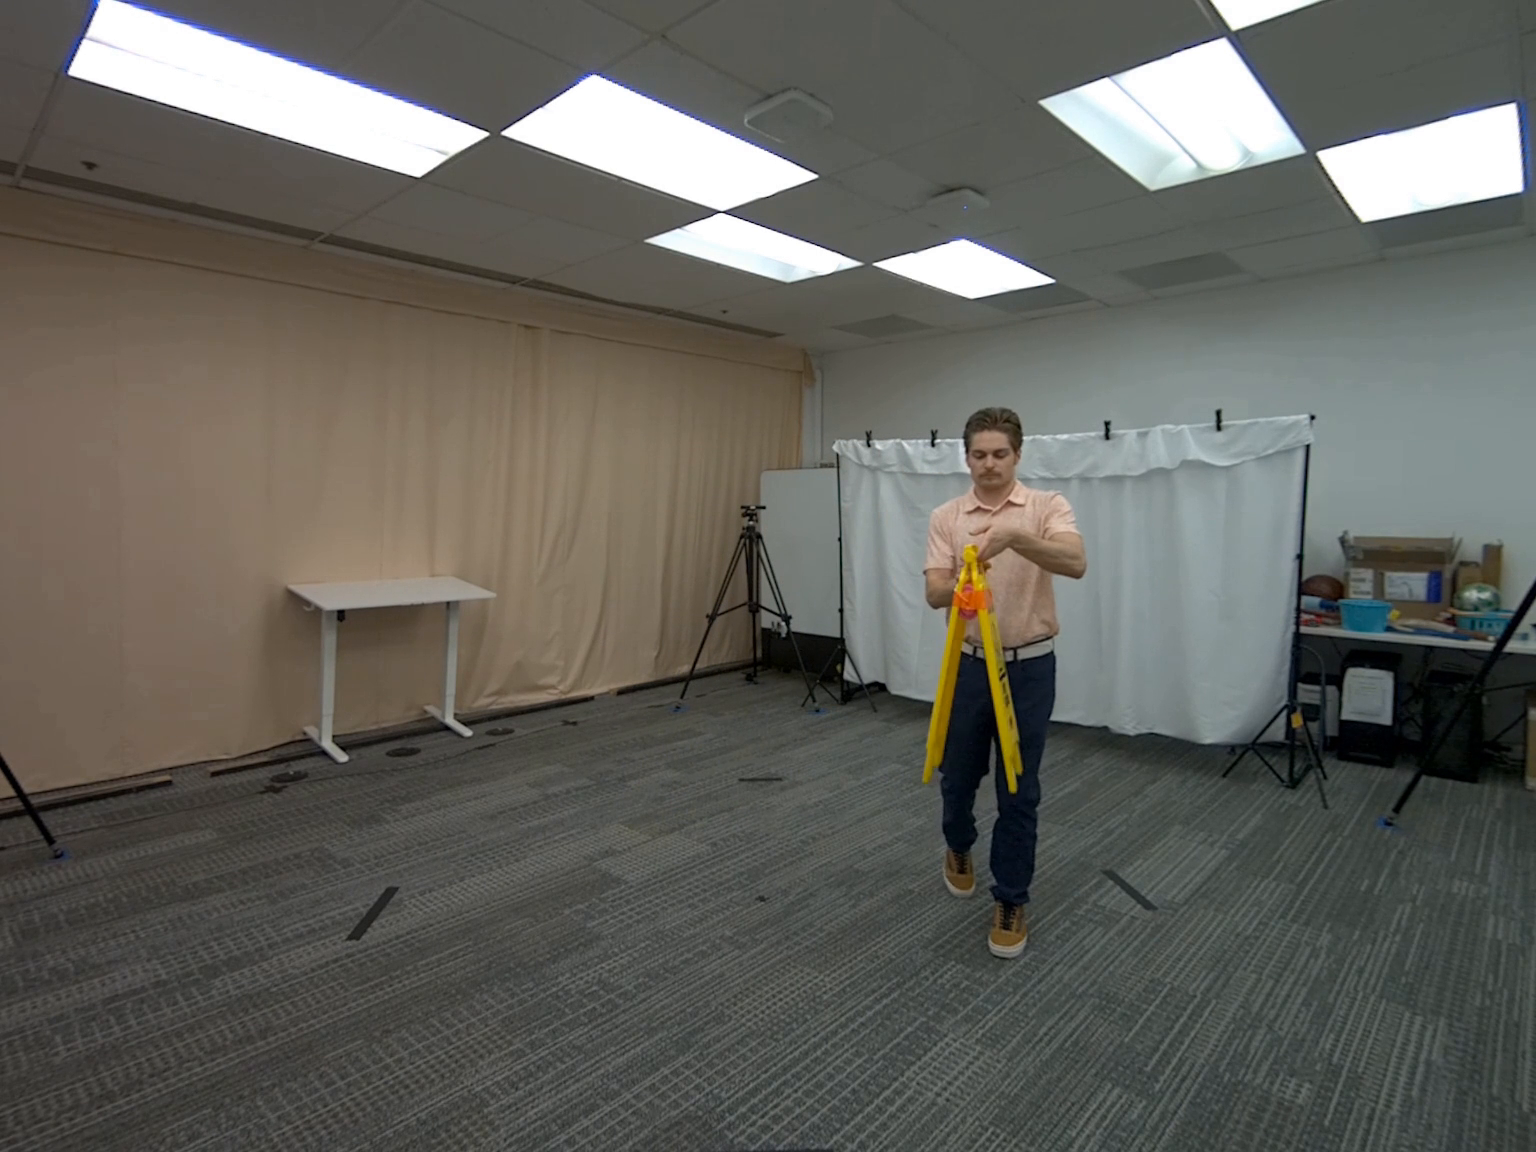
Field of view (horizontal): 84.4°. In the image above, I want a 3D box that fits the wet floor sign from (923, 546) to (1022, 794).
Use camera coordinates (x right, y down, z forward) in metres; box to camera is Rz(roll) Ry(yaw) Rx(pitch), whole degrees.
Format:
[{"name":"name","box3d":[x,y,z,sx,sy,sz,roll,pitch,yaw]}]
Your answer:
[{"name":"wet floor sign","box3d":[0.583,0.242,2.366,0.296,0.646,0.276,-1,0,21]}]
